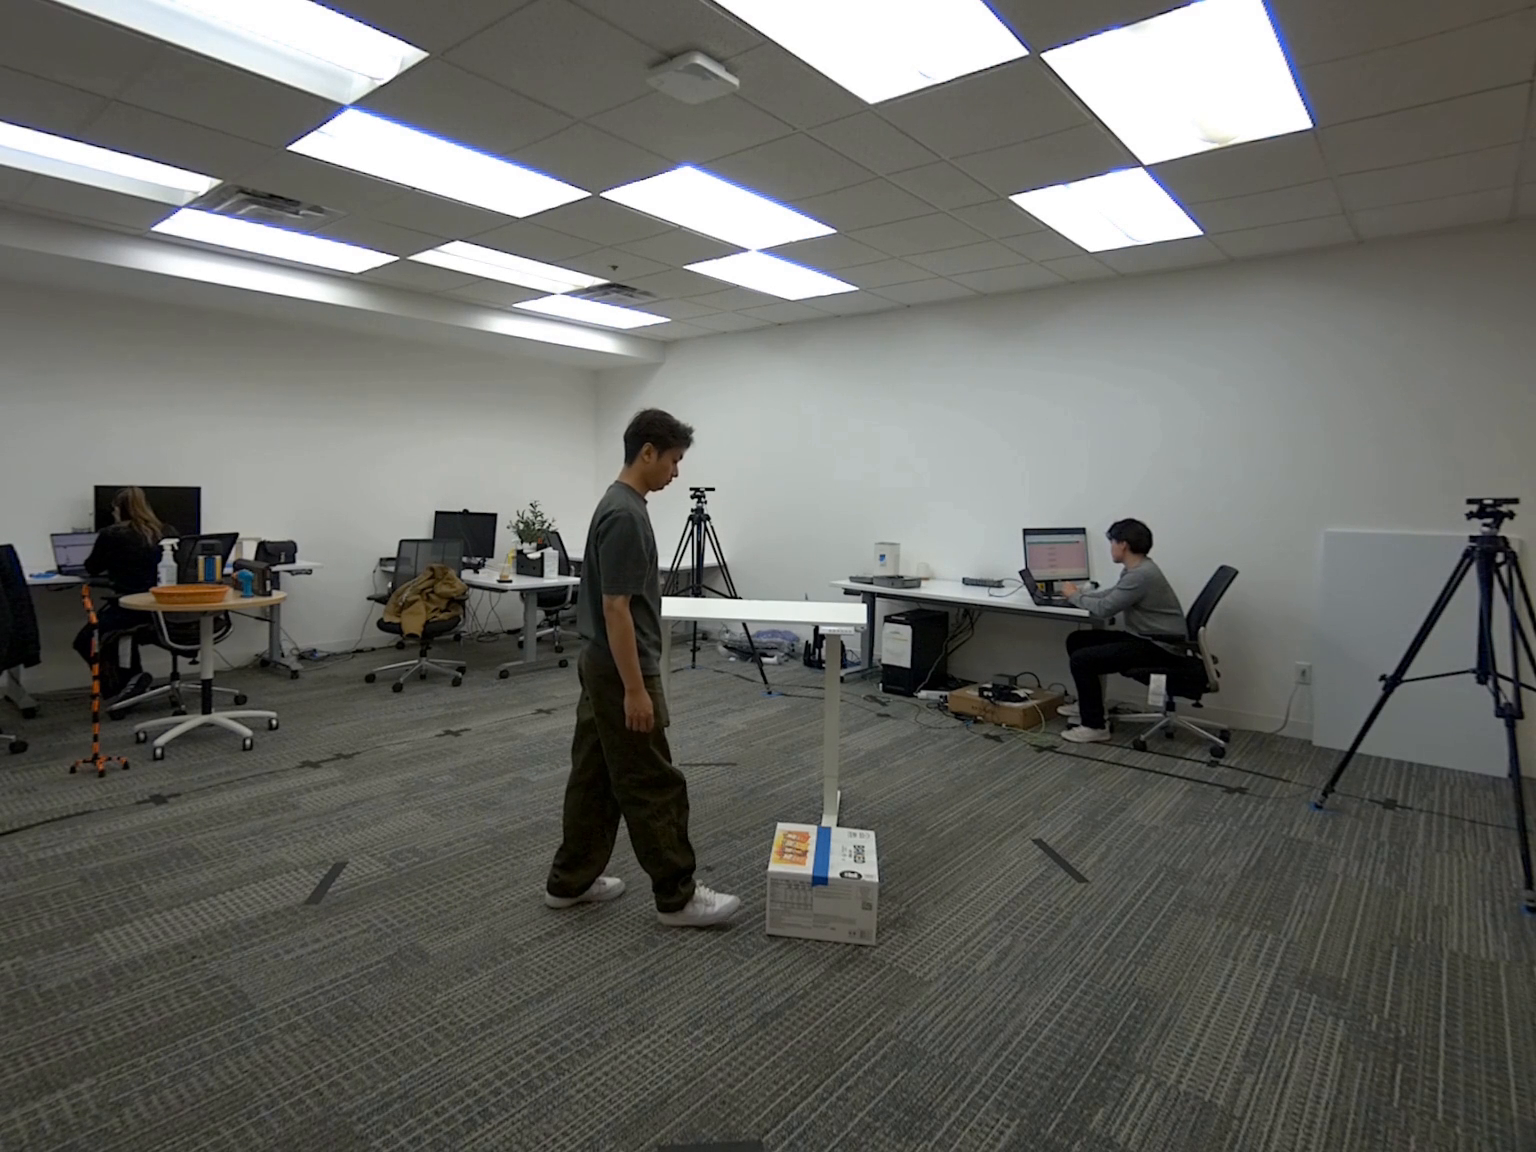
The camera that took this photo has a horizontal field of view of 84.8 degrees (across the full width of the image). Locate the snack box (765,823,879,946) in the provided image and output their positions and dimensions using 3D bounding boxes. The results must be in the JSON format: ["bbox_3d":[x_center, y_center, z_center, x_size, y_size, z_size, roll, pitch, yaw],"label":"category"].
[{"bbox_3d":[0.175,1.005,2.807,0.343,0.205,0.403,2,5,7],"label":"snack box"}]
